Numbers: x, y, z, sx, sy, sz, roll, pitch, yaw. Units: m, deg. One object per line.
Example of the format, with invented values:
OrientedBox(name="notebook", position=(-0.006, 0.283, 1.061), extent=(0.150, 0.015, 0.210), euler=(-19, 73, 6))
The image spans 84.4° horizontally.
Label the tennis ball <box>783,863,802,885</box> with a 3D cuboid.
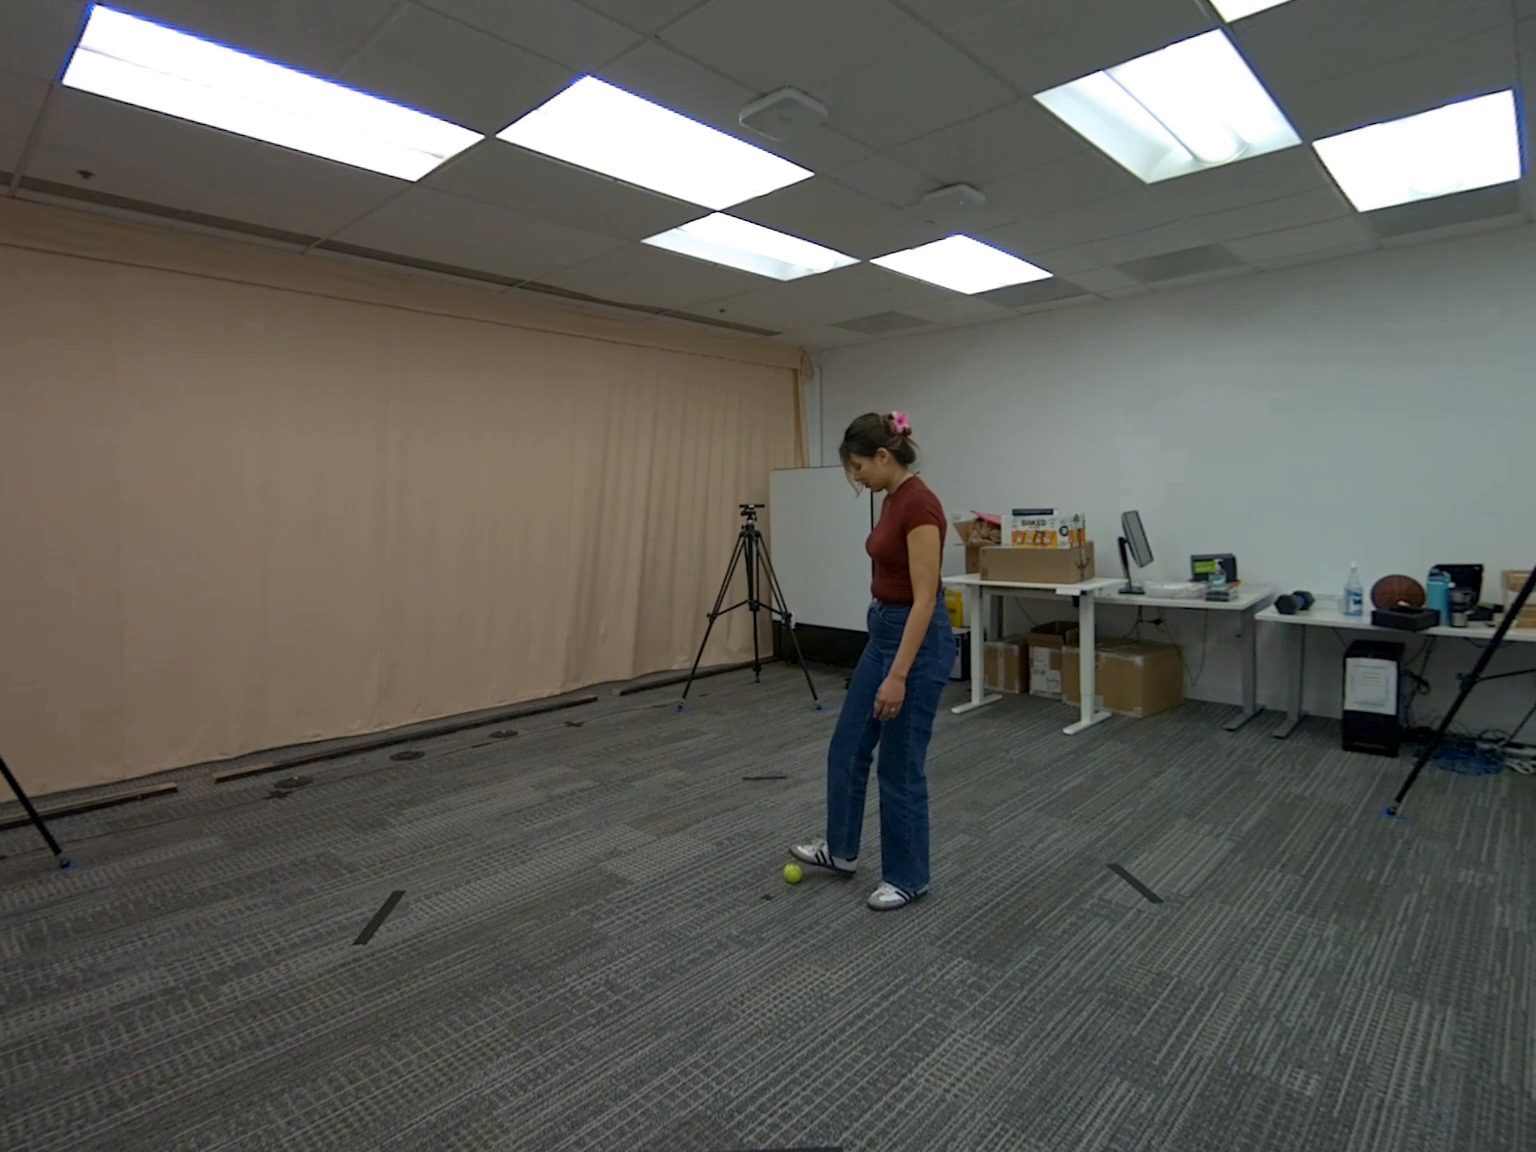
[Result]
OrientedBox(name="tennis ball", position=(0.092, 1.088, 3.108), extent=(0.066, 0.066, 0.067), euler=(-1, 4, -2))
